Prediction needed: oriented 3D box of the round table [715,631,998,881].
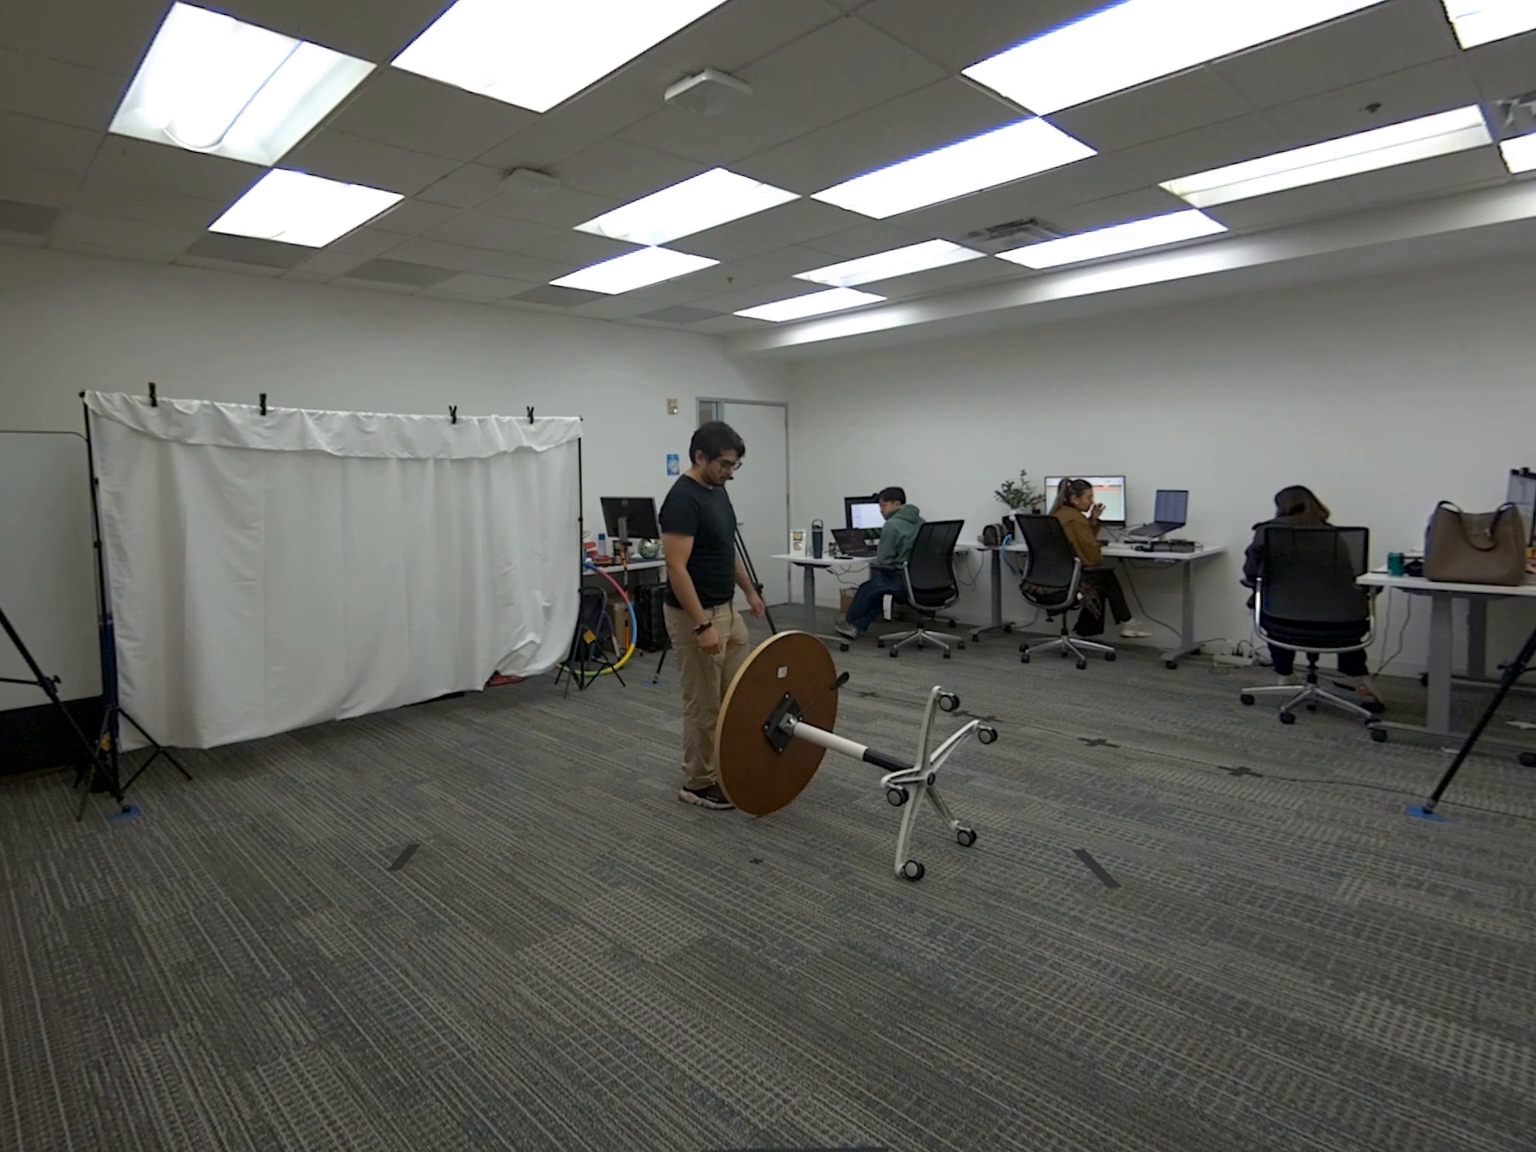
[{"bbox_3d":[0.343,0.677,3.265,0.813,0.779,0.765,13,13,41],"label":"round table"}]
